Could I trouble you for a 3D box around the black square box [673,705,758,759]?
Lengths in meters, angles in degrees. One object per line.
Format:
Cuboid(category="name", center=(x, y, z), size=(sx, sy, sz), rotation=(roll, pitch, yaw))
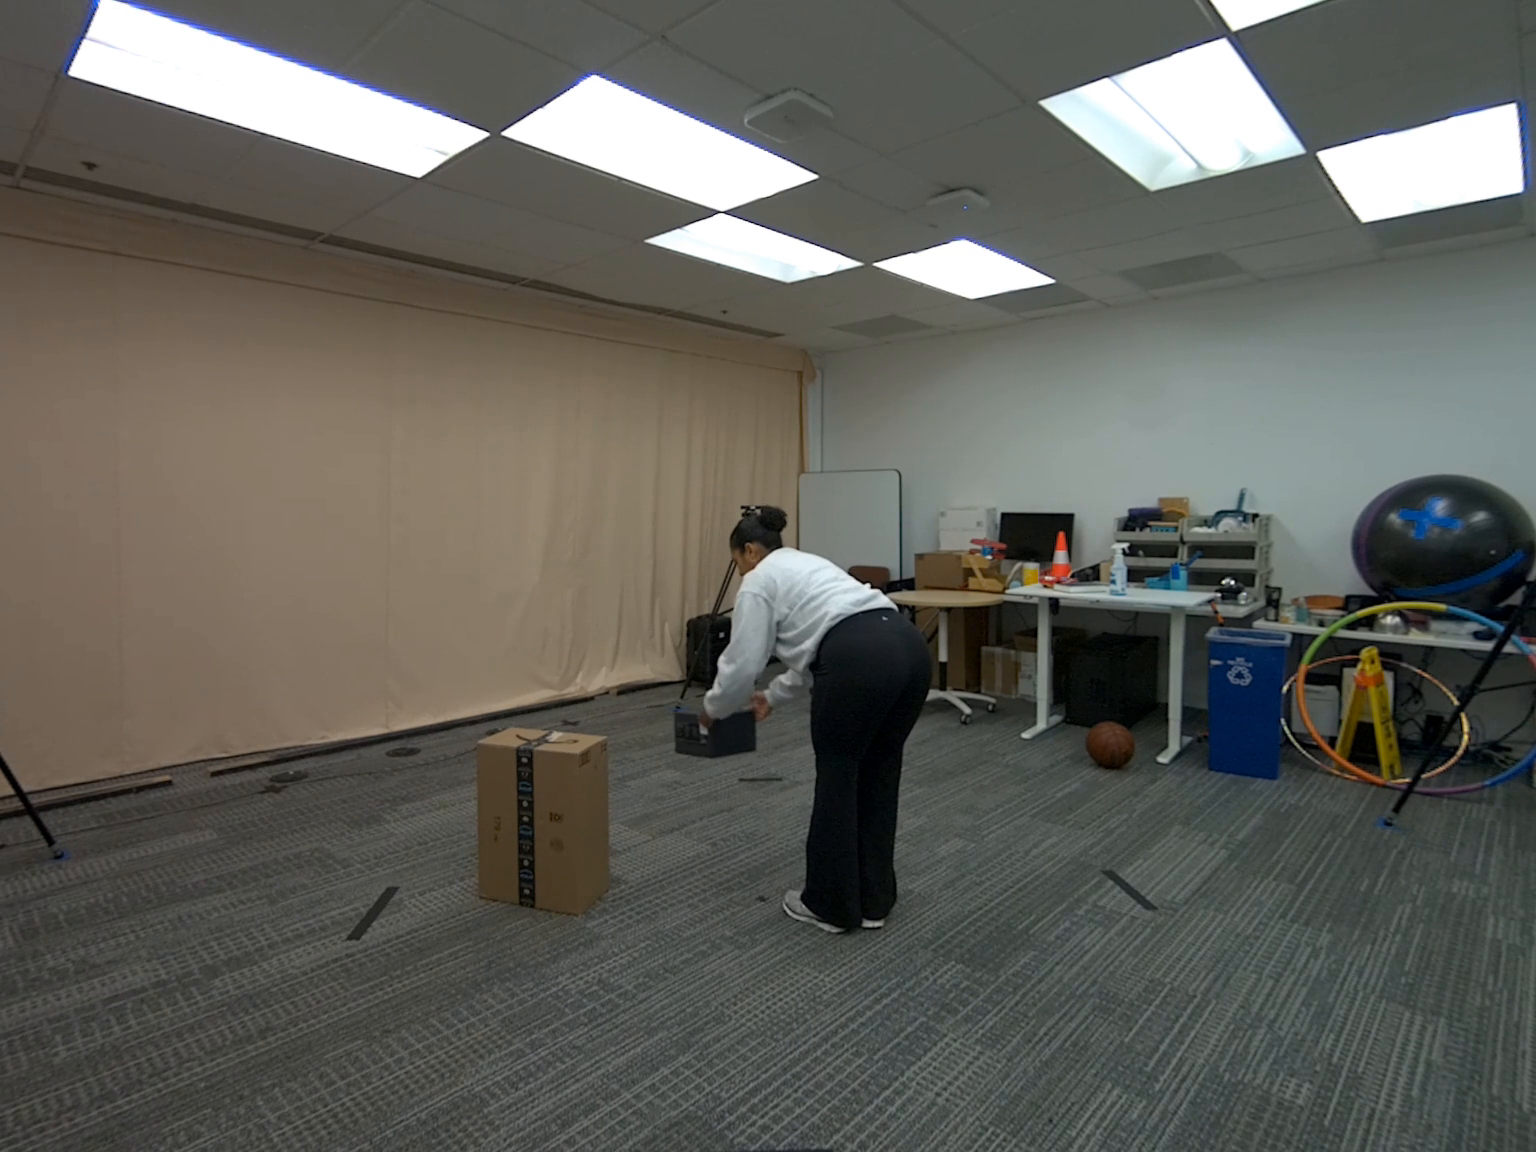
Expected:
Cuboid(category="black square box", center=(-0.200, 0.594, 3.176), size=(0.220, 0.156, 0.223), rotation=(1, -3, -43))
